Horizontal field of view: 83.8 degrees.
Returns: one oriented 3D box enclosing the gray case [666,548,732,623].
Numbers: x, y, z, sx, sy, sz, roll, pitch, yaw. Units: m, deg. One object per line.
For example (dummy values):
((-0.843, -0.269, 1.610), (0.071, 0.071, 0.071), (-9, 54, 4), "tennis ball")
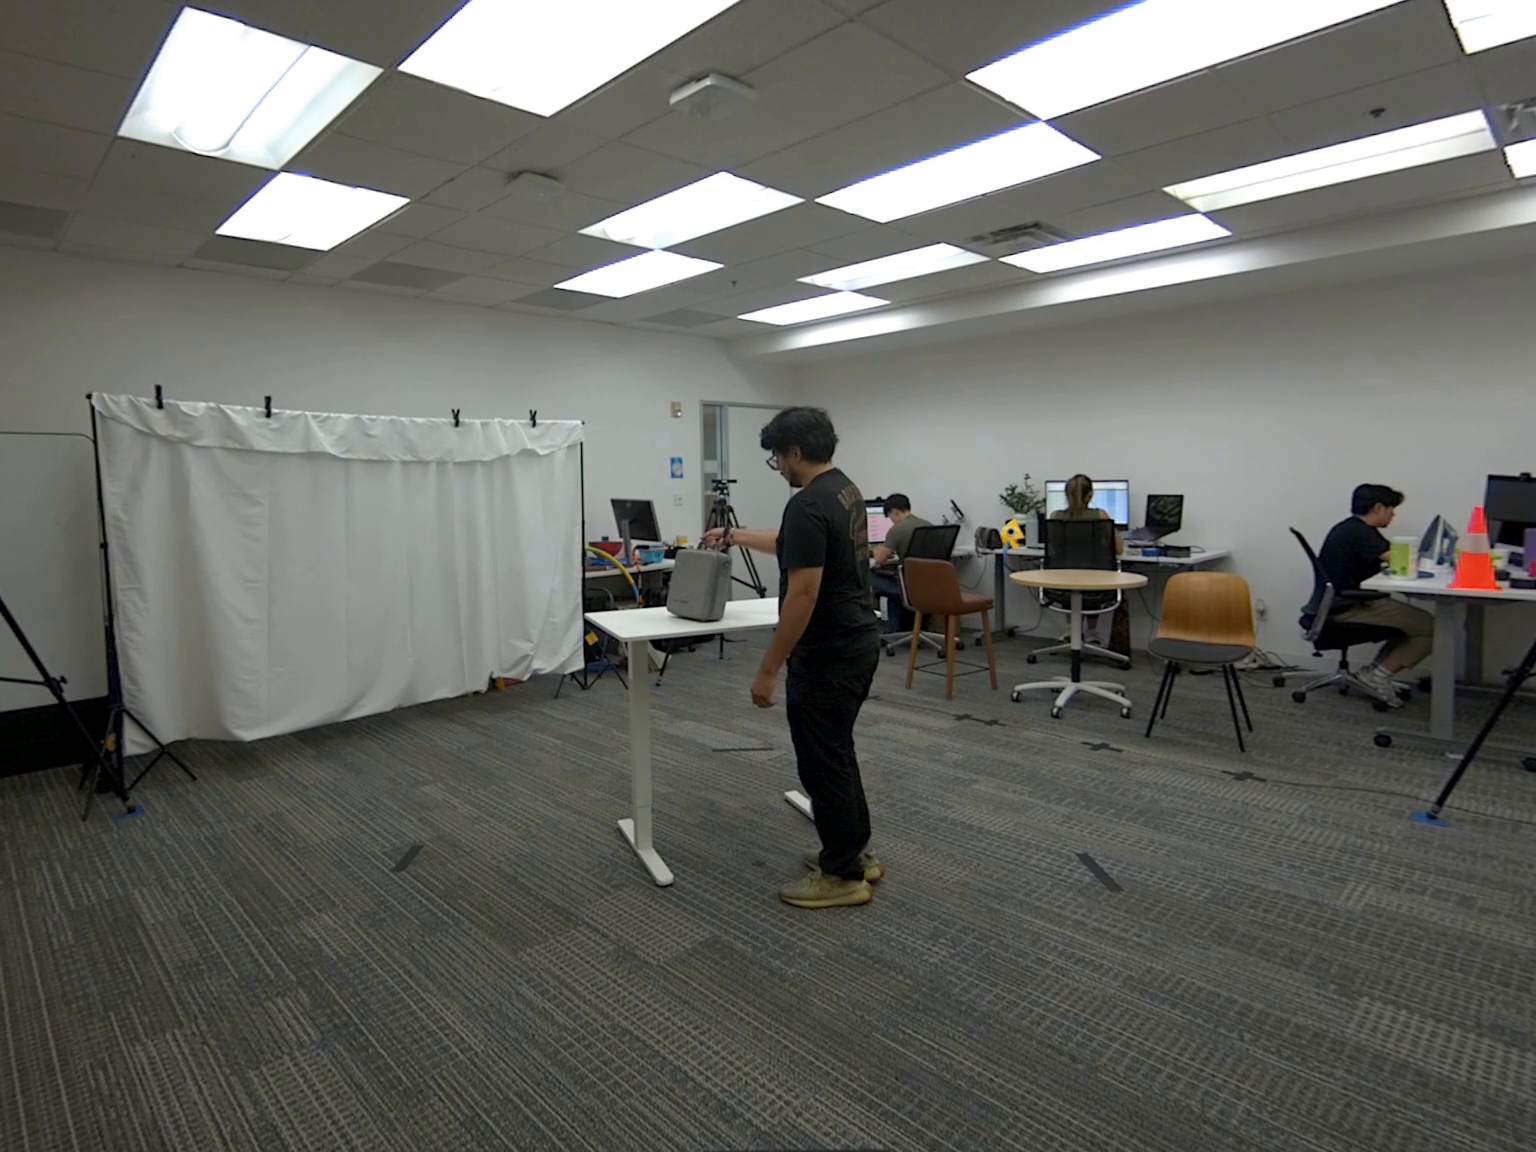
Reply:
((-0.257, 0.029, 3.201), (0.101, 0.261, 0.264), (12, -4, -38), "gray case")
